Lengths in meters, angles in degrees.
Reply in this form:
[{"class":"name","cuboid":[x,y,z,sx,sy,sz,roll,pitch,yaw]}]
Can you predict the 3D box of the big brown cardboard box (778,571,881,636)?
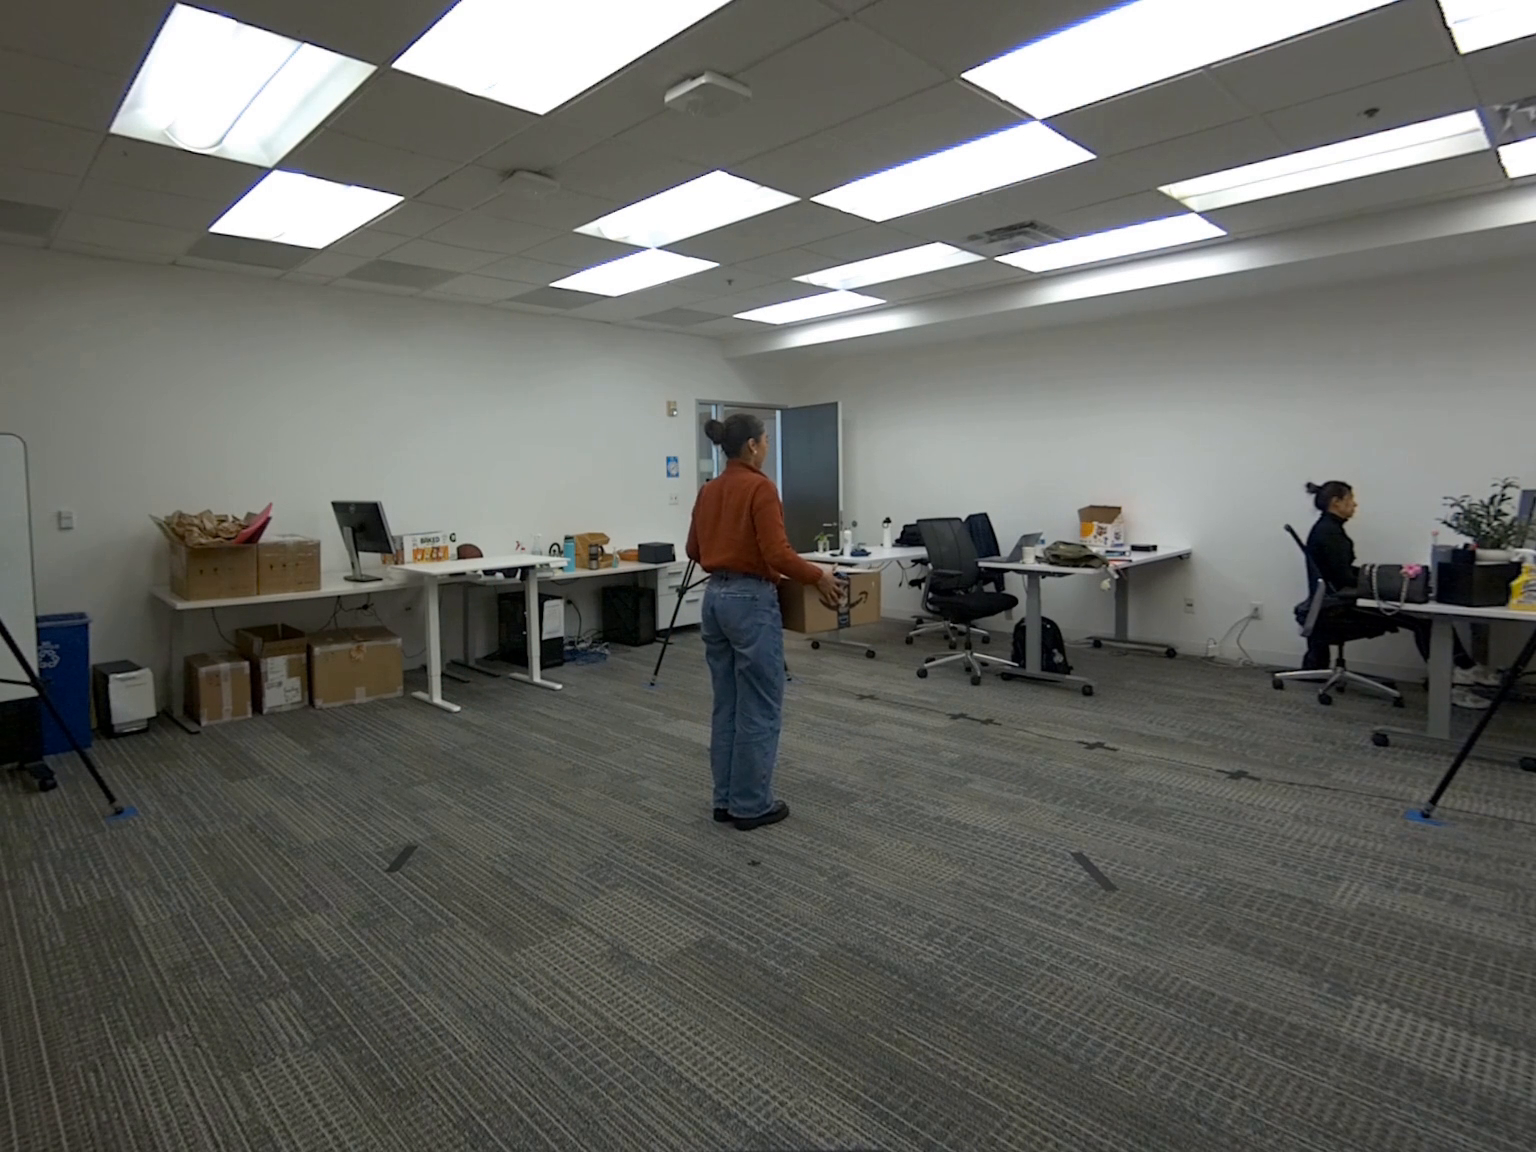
[{"class":"big brown cardboard box","cuboid":[0.142,0.075,3.685,0.407,0.232,0.607,-6,8,-36]}]
